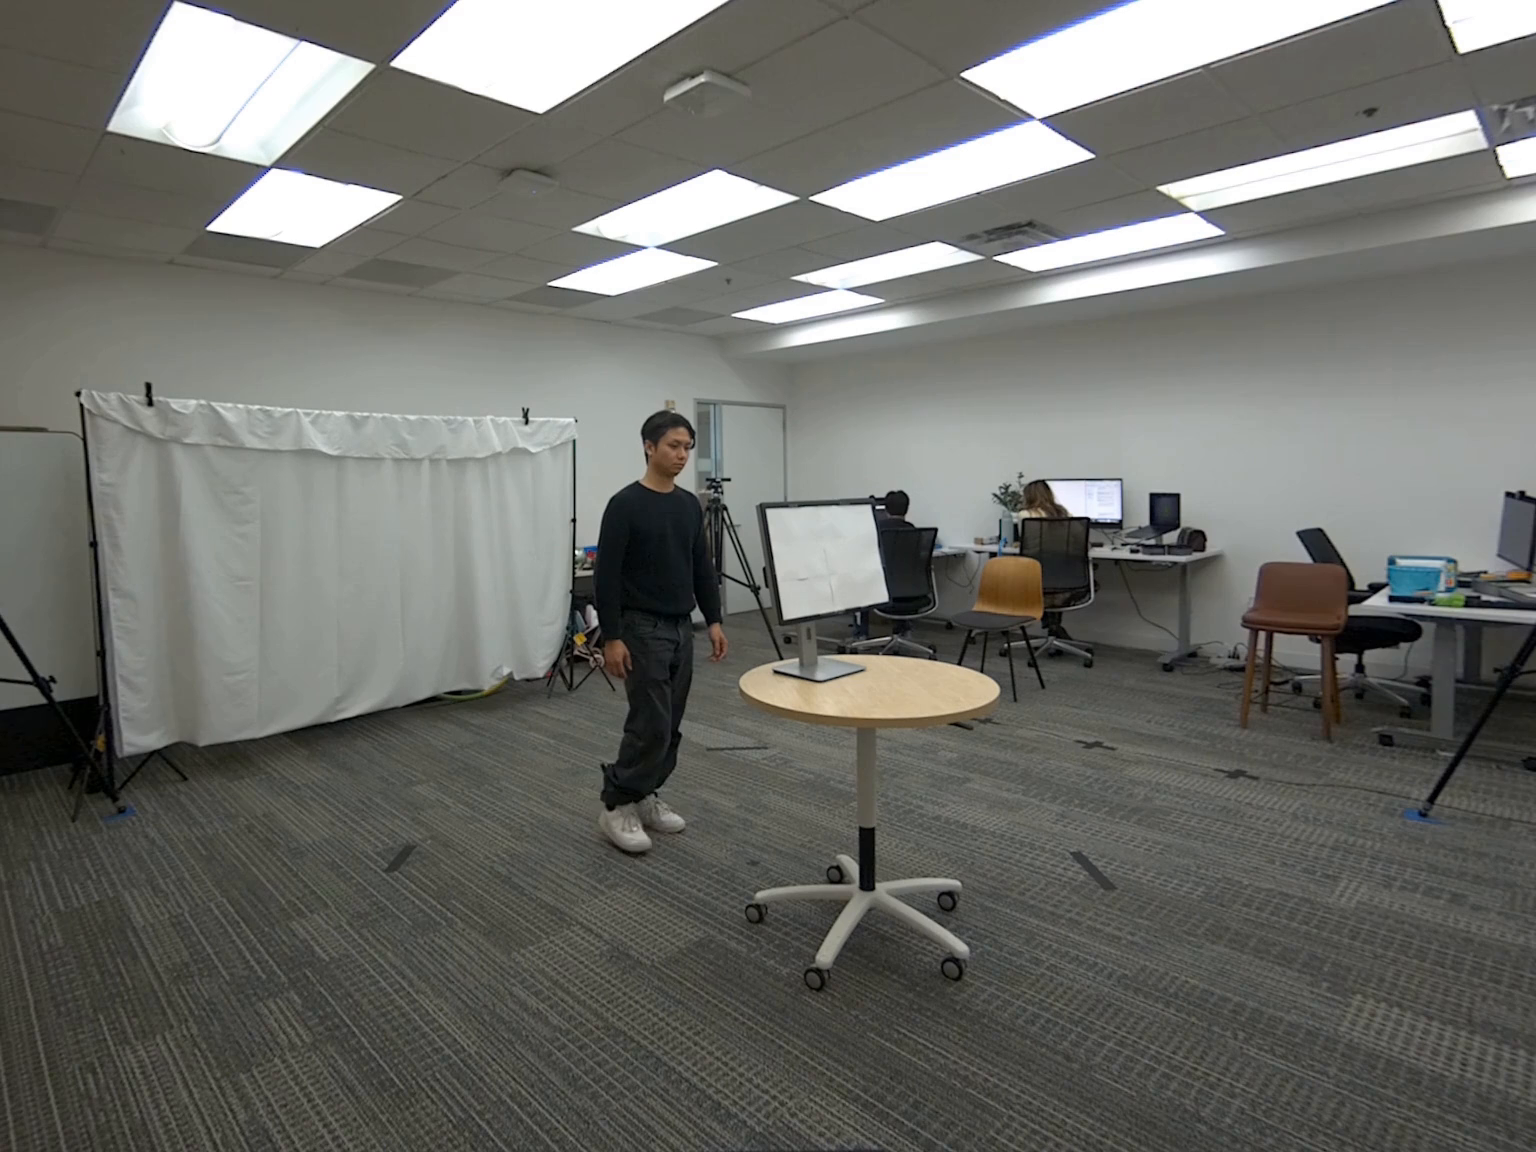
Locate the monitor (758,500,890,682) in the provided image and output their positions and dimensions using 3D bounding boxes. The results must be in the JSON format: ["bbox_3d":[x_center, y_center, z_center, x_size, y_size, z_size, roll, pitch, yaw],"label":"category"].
[{"bbox_3d":[0.165,0.039,2.699,0.193,0.520,0.525,3,6,41],"label":"monitor"}]
